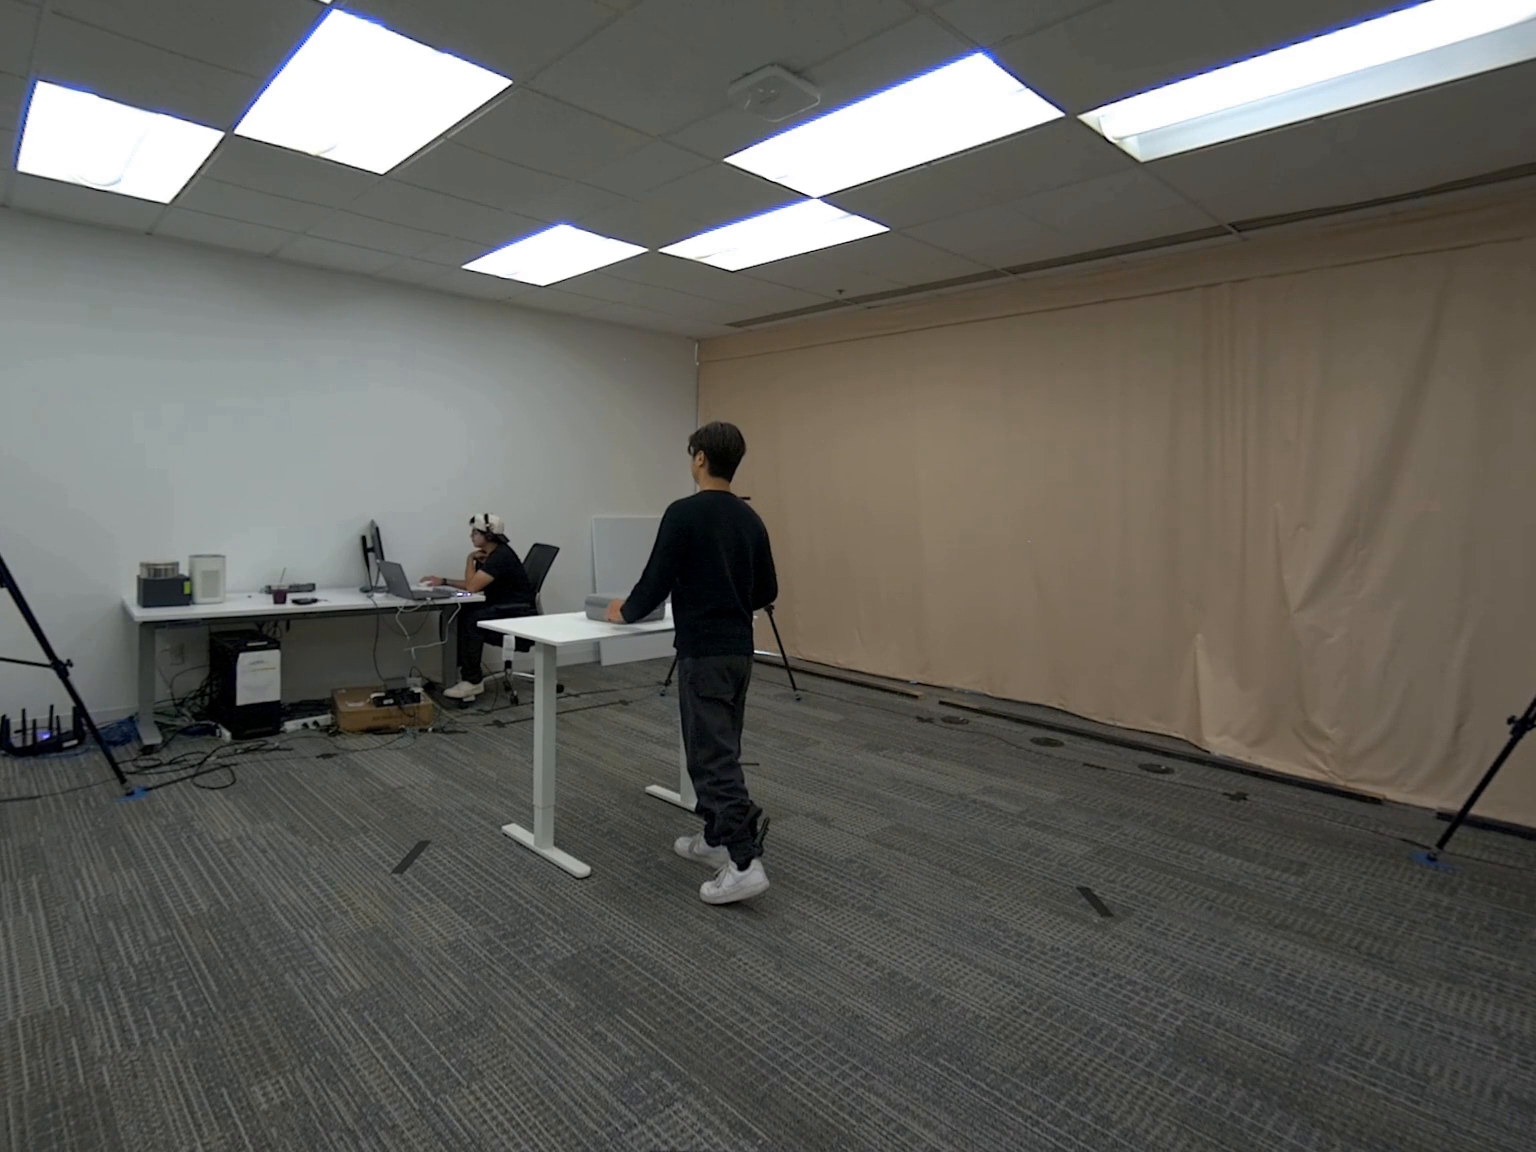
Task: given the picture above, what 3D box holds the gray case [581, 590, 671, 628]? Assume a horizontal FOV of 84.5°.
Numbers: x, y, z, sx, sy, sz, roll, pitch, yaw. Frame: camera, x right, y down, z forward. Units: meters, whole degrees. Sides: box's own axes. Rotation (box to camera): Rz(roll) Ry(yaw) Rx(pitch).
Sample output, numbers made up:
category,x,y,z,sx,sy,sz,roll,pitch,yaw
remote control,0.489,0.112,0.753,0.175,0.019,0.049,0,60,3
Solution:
category,x,y,z,sx,sy,sz,roll,pitch,yaw
gray case,-0.588,0.130,3.489,0.267,0.104,0.251,6,6,41
